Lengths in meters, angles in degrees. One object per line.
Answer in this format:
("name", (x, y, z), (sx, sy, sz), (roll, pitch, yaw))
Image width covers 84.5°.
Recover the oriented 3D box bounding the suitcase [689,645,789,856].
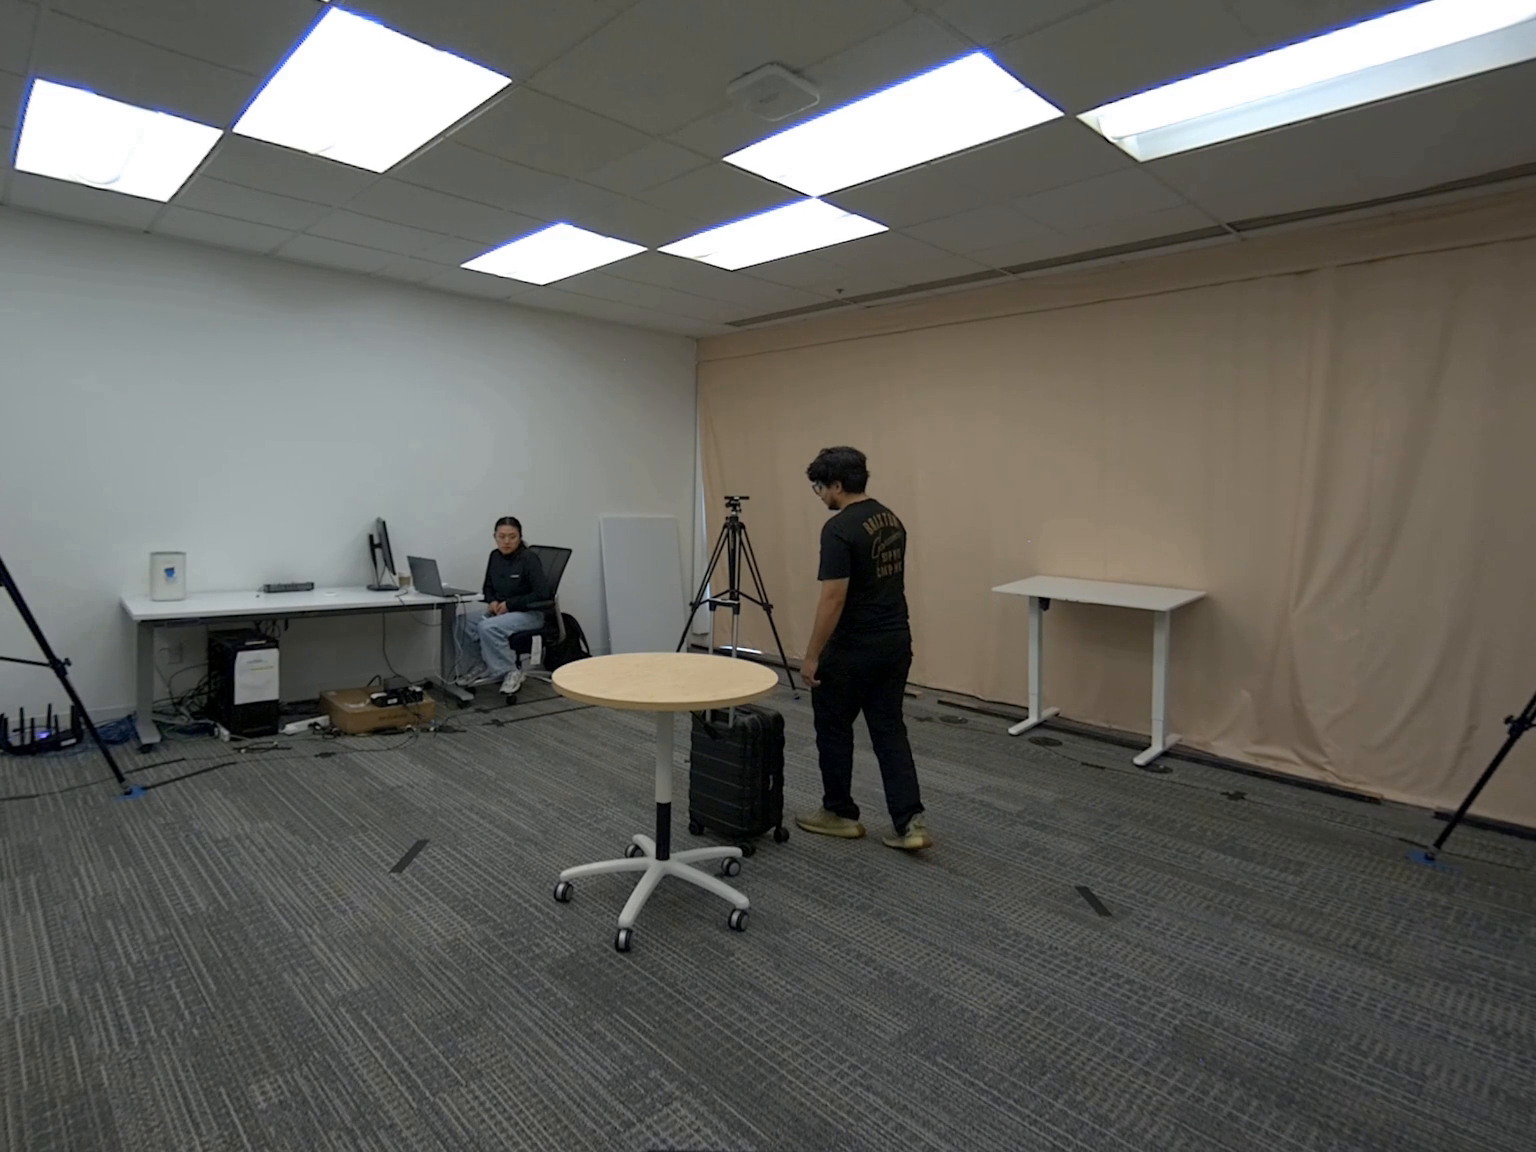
("suitcase", (-0.131, 0.591, 3.450), (0.393, 0.978, 0.251), (2, 1, 38))
